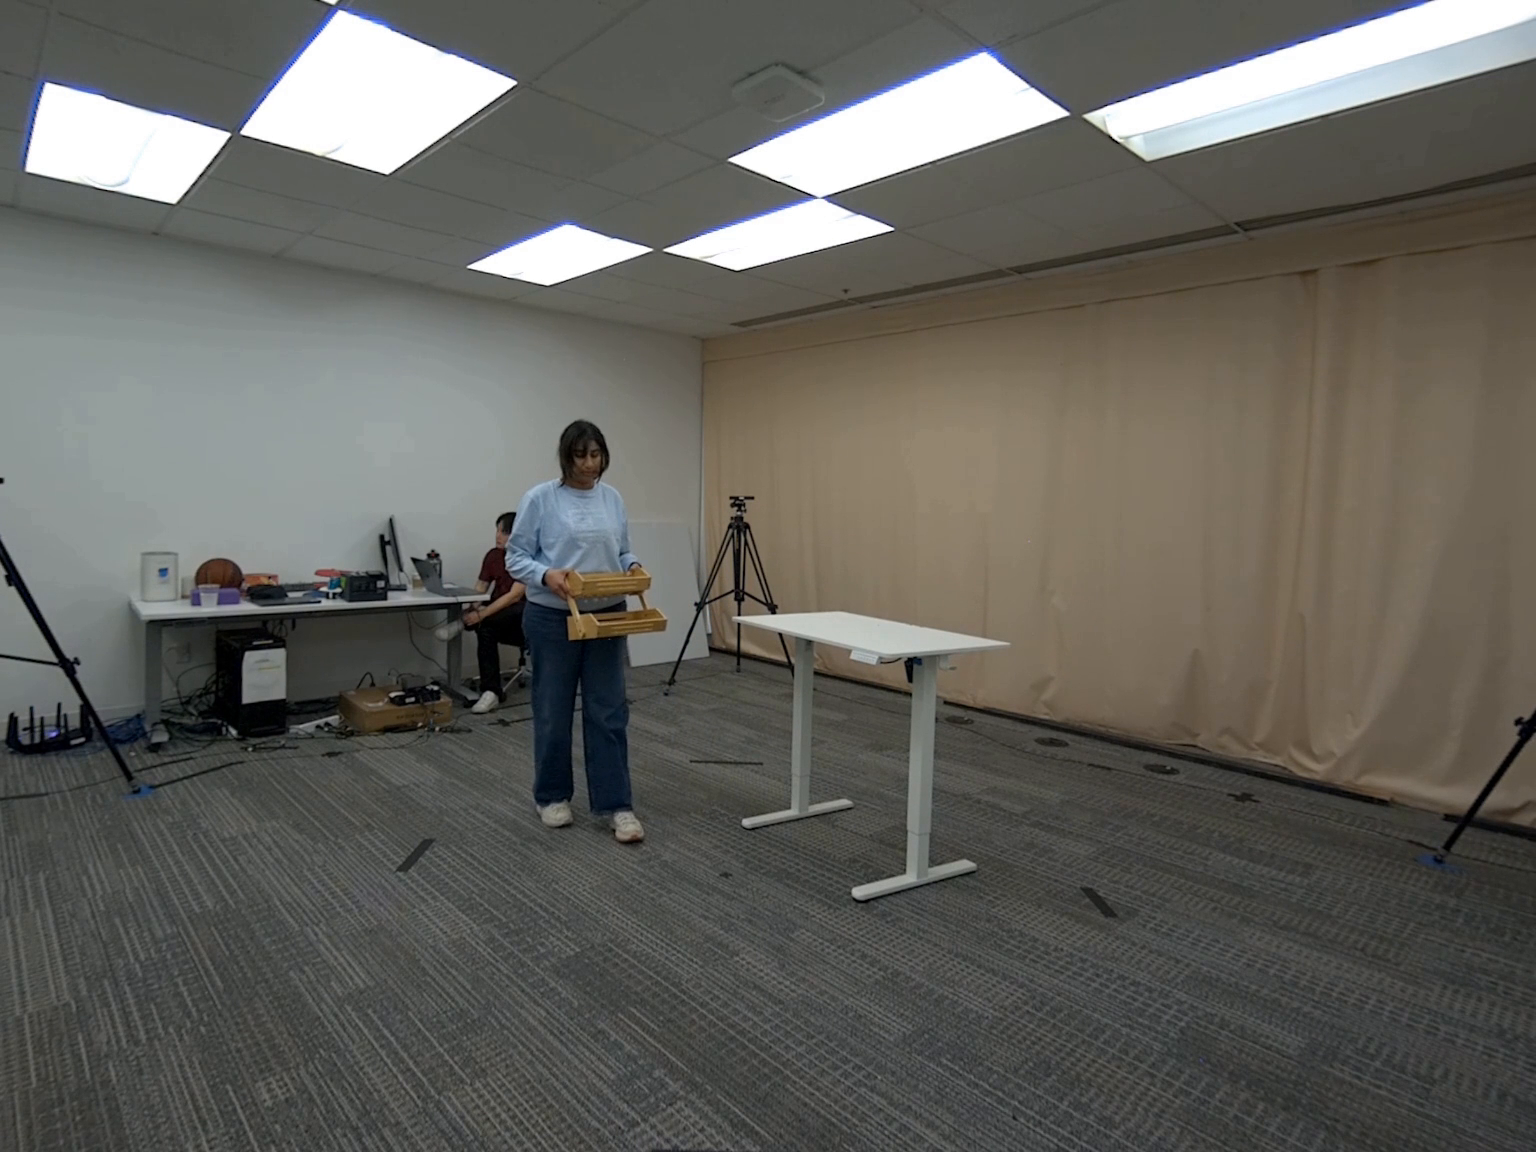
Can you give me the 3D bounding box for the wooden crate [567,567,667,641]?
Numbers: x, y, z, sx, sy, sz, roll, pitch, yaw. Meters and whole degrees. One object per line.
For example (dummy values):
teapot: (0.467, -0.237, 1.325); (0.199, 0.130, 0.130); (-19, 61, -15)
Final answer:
wooden crate: (-0.616, 0.096, 3.292); (0.317, 0.274, 0.307); (-1, -6, -38)
